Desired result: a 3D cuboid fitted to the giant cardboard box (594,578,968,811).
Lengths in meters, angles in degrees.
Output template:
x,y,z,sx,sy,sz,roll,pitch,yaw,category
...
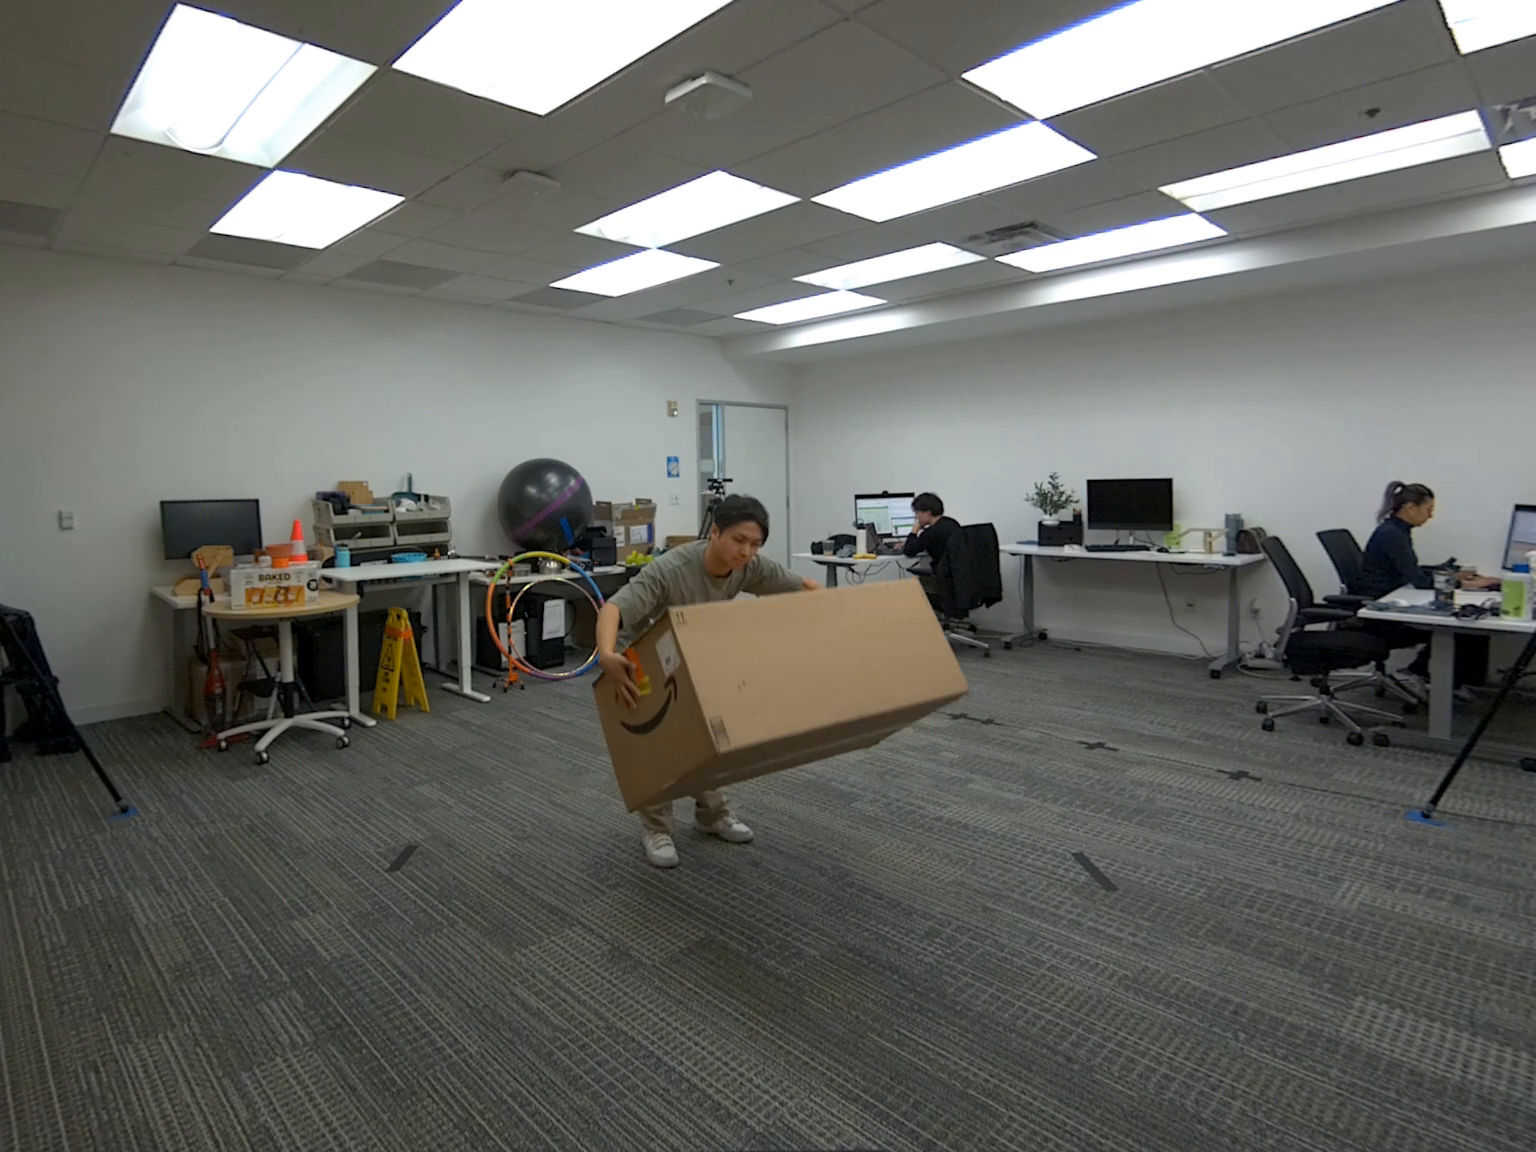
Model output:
x,y,z,sx,sy,sz,roll,pitch,yaw,category
0.040,0.349,2.776,1.000,0.437,0.578,-5,-26,-37,giant cardboard box
